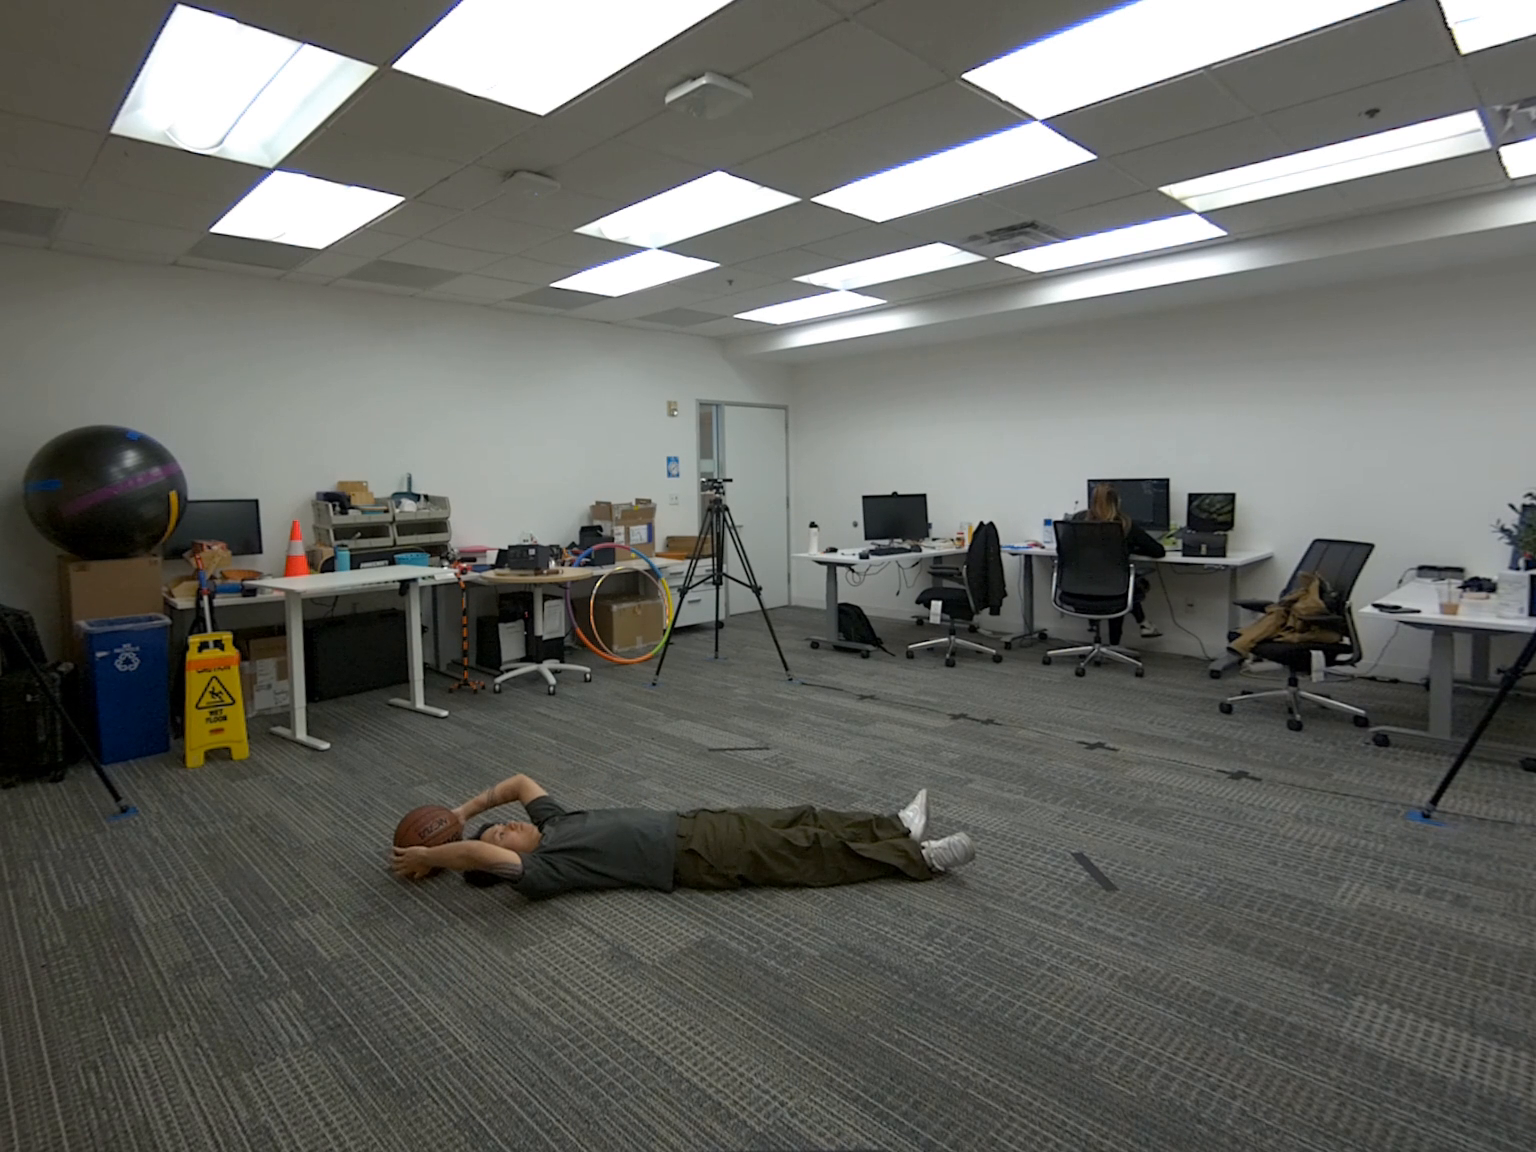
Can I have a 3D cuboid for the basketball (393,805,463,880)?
[{"bbox_3d":[-1.230,0.951,3.093,0.236,0.235,0.237,-1,5,-2],"label":"basketball"}]
